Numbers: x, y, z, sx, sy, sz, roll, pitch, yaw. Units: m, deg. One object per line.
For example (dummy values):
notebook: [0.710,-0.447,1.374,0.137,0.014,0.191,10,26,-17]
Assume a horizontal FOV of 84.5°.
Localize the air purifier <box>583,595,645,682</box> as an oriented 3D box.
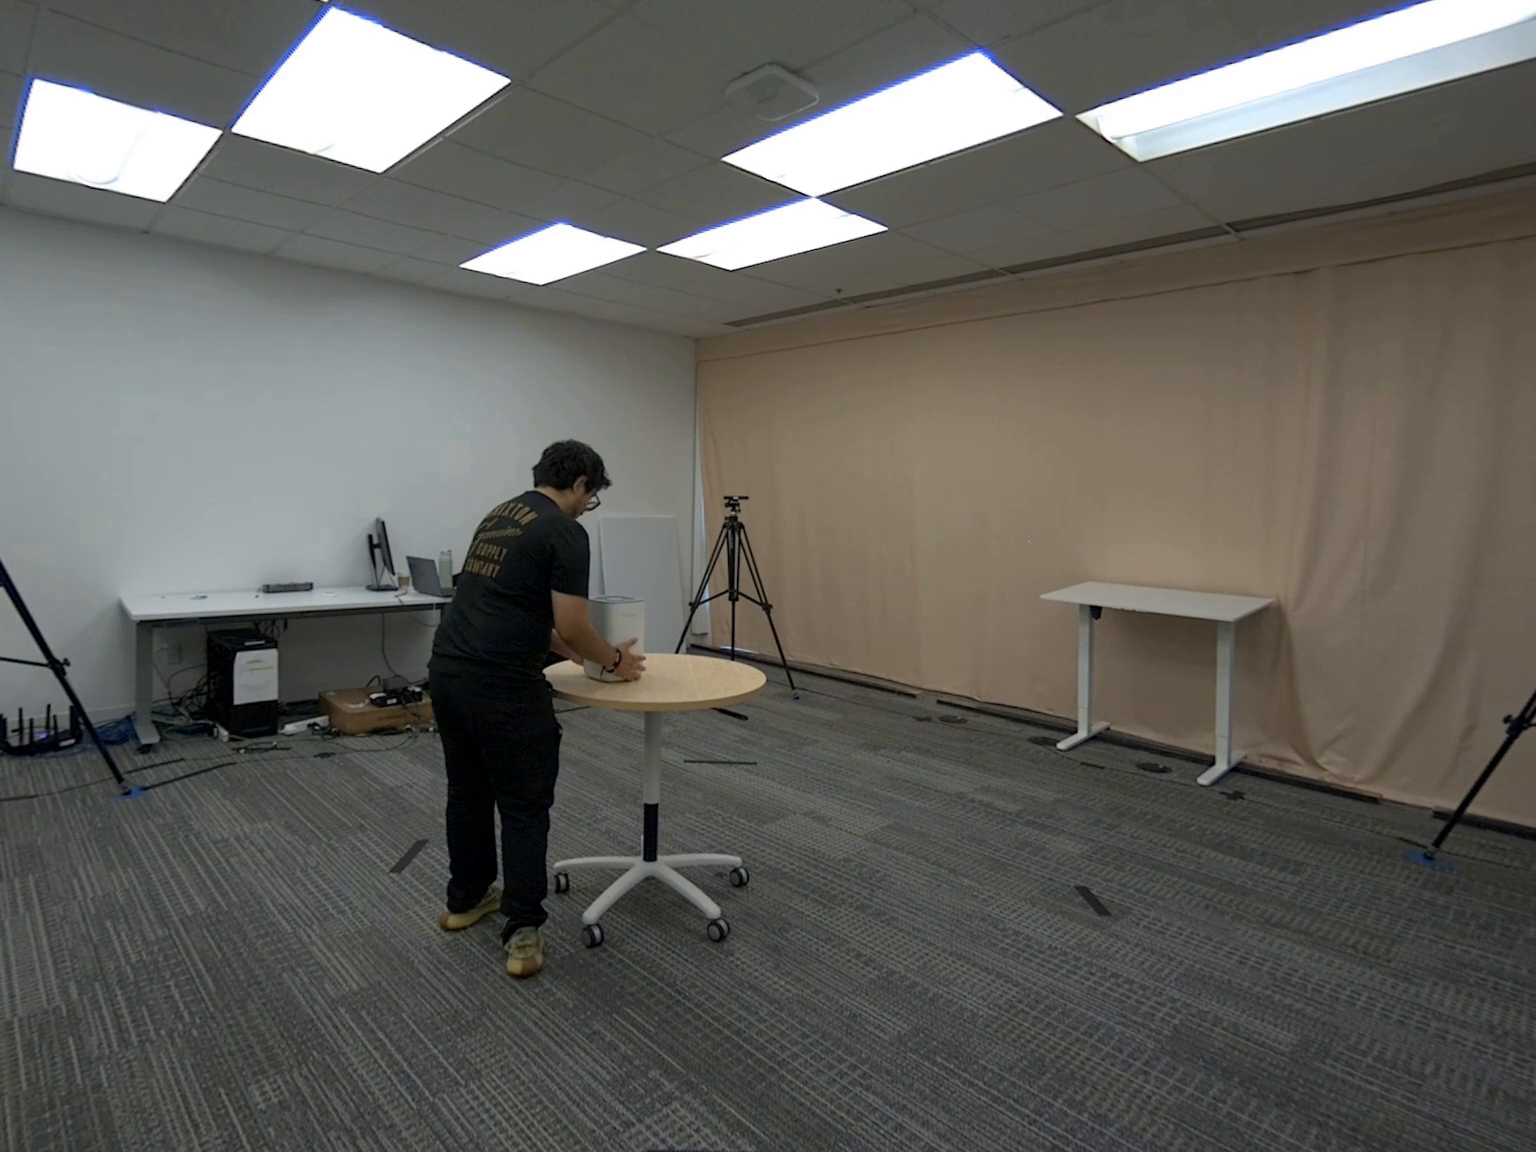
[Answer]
air purifier: [-0.519,0.207,2.795,0.176,0.265,0.167,5,5,43]
